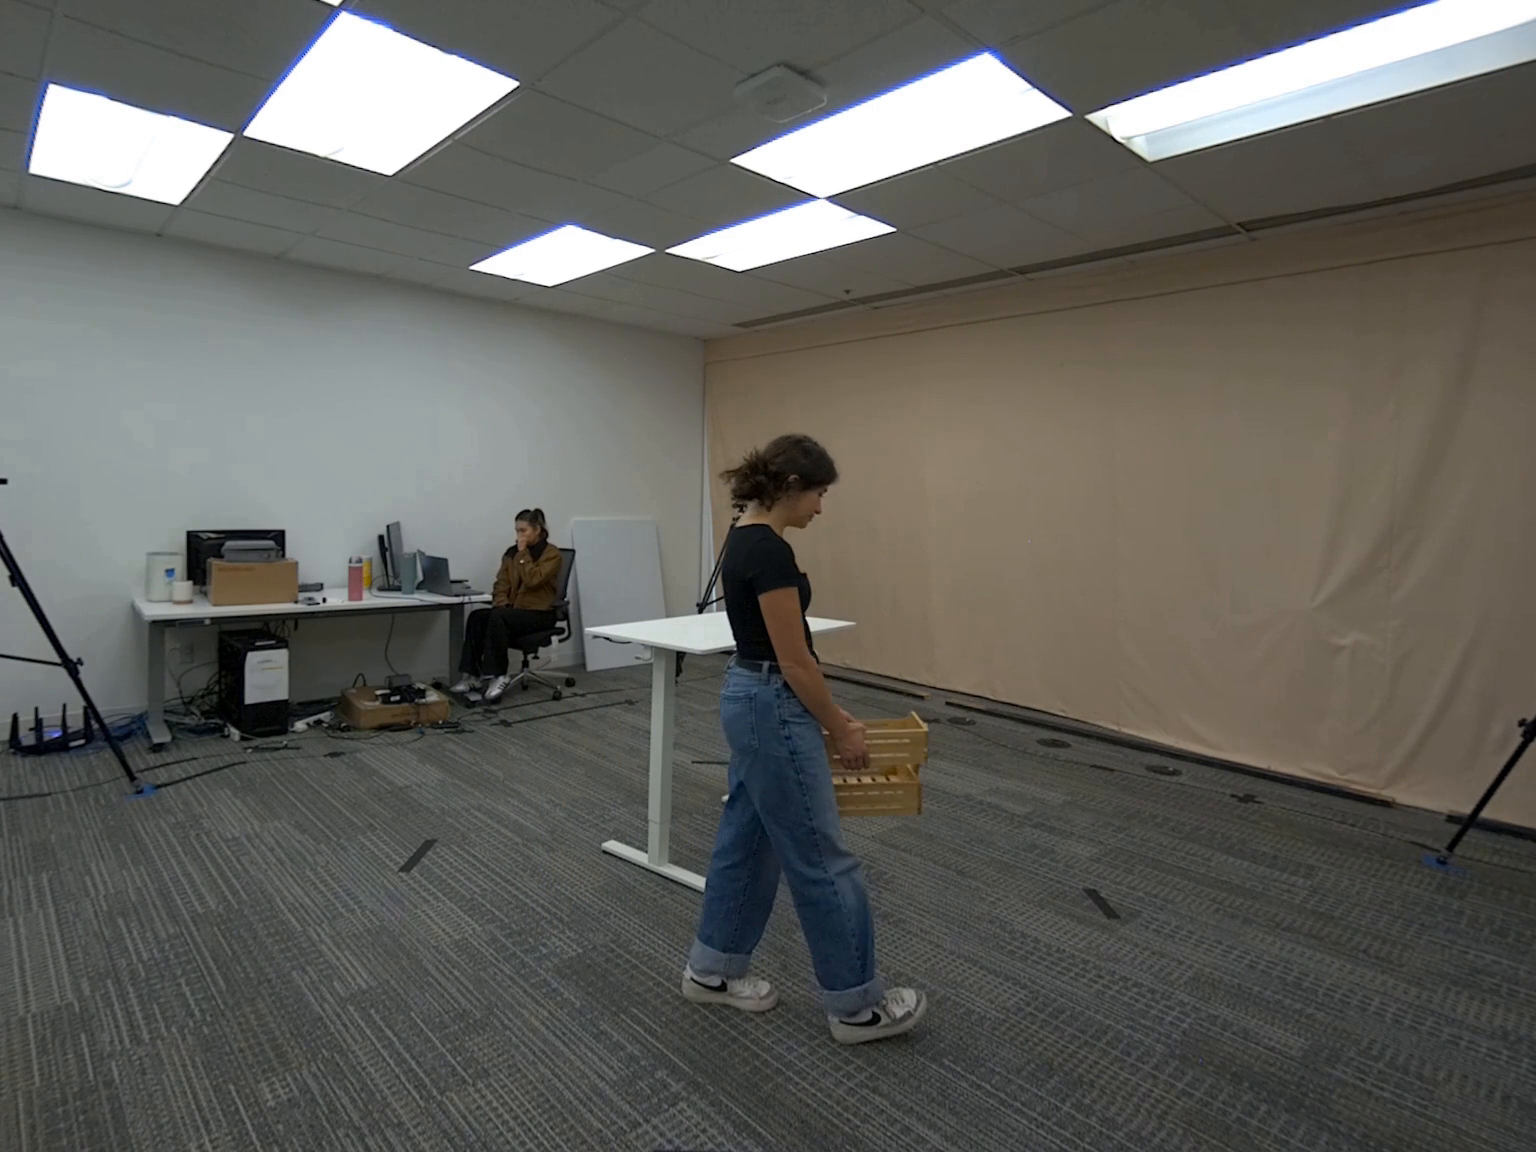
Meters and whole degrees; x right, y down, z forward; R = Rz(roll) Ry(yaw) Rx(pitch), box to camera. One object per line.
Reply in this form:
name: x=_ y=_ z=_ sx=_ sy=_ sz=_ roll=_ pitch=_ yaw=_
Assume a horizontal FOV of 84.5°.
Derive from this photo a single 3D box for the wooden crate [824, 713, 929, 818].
wooden crate: x=0.267 y=0.503 z=2.357 sx=0.324 sy=0.271 sz=0.305 roll=-2 pitch=11 yaw=-1
